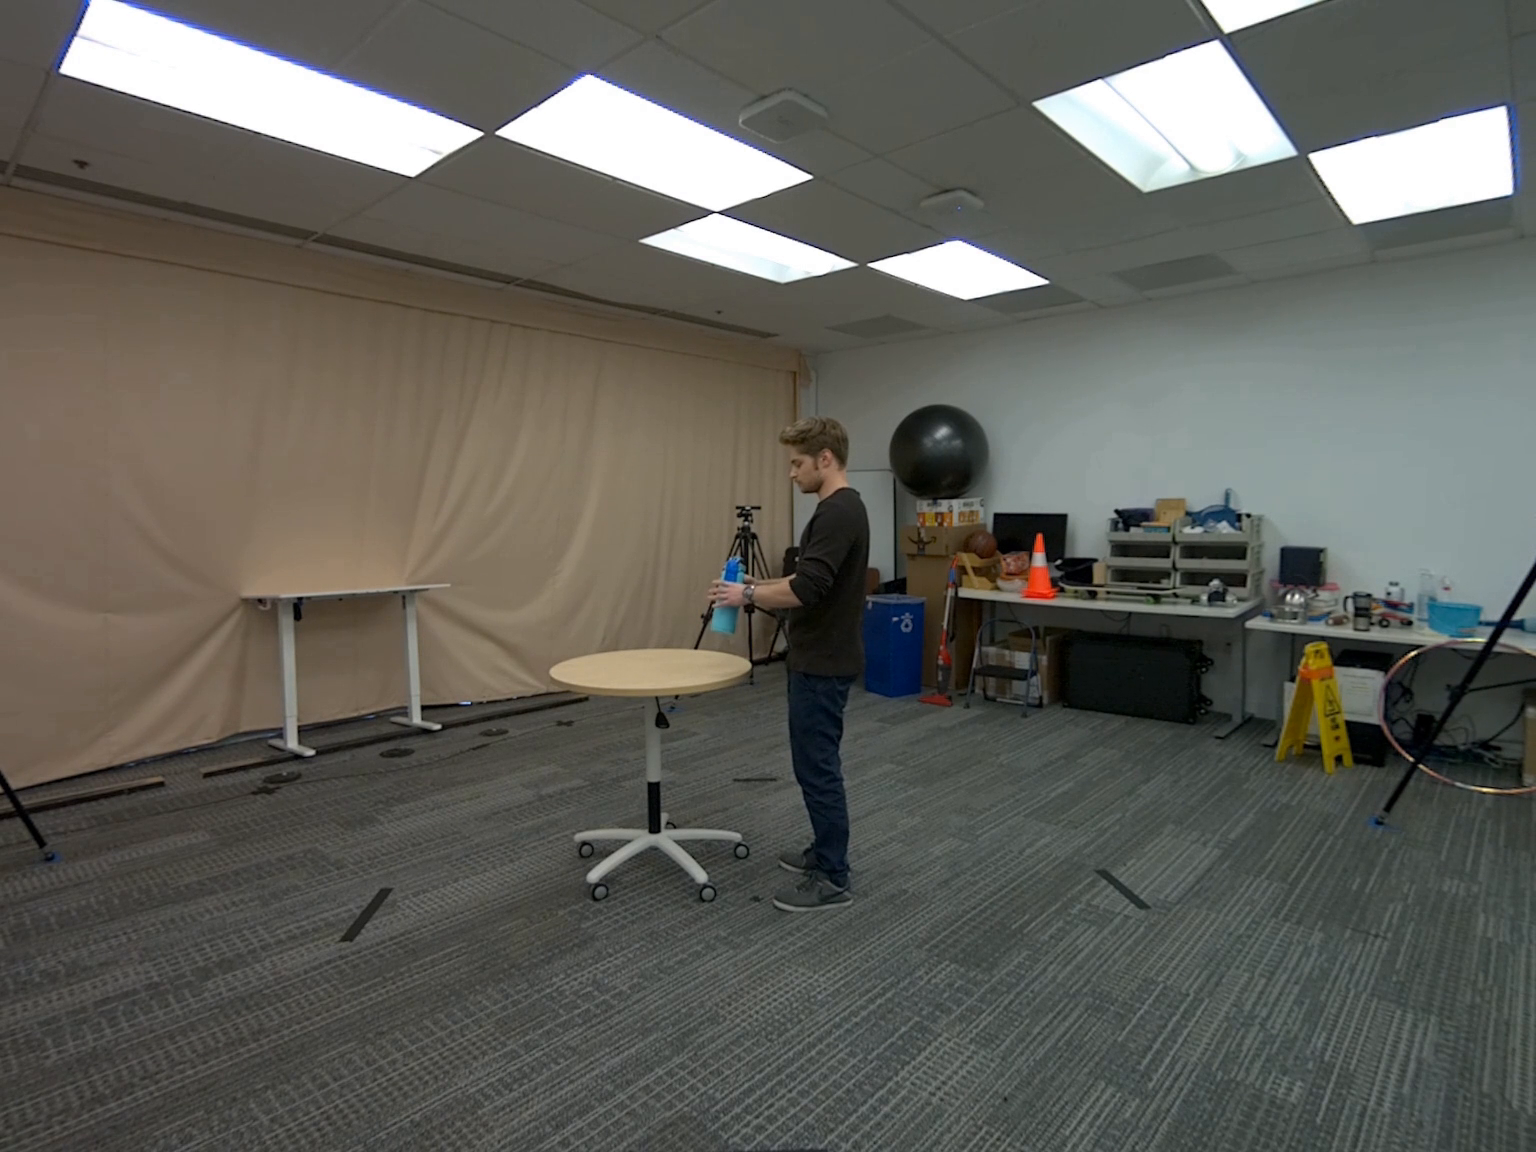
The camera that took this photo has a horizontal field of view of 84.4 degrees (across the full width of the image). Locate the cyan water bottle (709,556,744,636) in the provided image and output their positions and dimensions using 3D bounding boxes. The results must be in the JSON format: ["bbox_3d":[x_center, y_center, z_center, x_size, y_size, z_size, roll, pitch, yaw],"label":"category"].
[{"bbox_3d":[-0.133,0.069,3.077,0.092,0.284,0.092,11,-9,0],"label":"cyan water bottle"}]
